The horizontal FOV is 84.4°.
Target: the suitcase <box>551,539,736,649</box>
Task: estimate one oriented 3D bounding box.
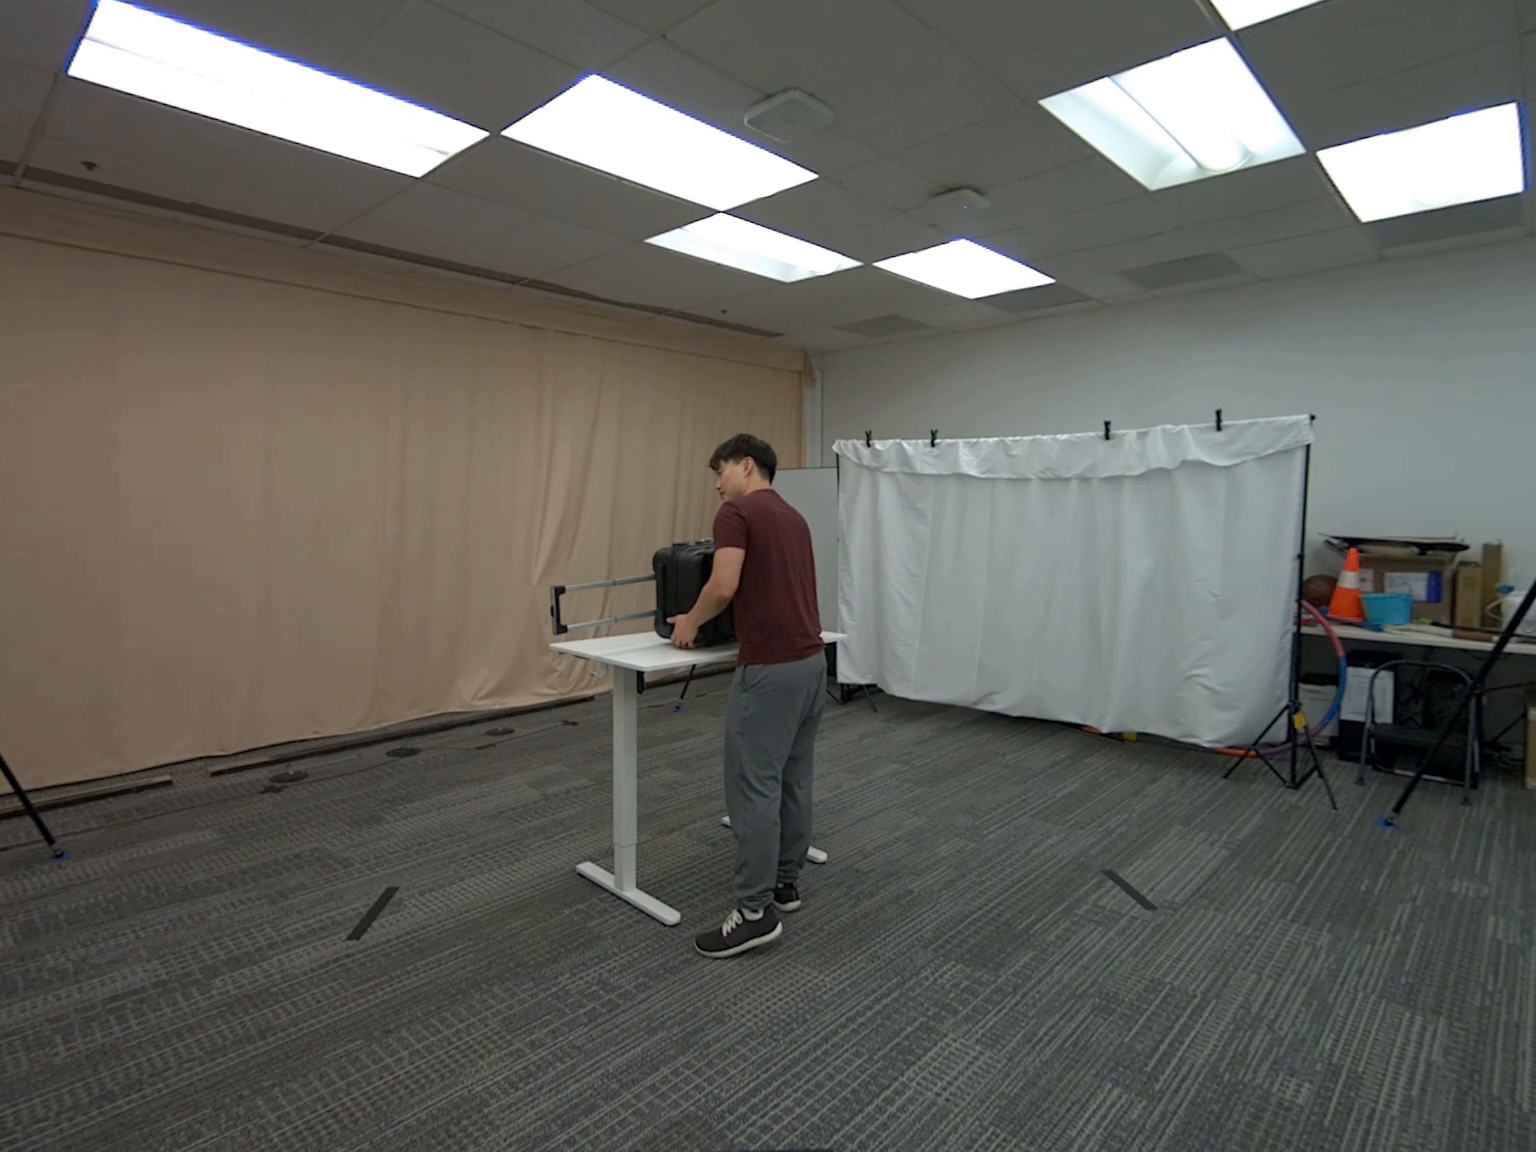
[{"bbox_3d":[-0.321,0.076,3.055,0.266,0.383,0.949,5,7,41],"label":"suitcase"}]
